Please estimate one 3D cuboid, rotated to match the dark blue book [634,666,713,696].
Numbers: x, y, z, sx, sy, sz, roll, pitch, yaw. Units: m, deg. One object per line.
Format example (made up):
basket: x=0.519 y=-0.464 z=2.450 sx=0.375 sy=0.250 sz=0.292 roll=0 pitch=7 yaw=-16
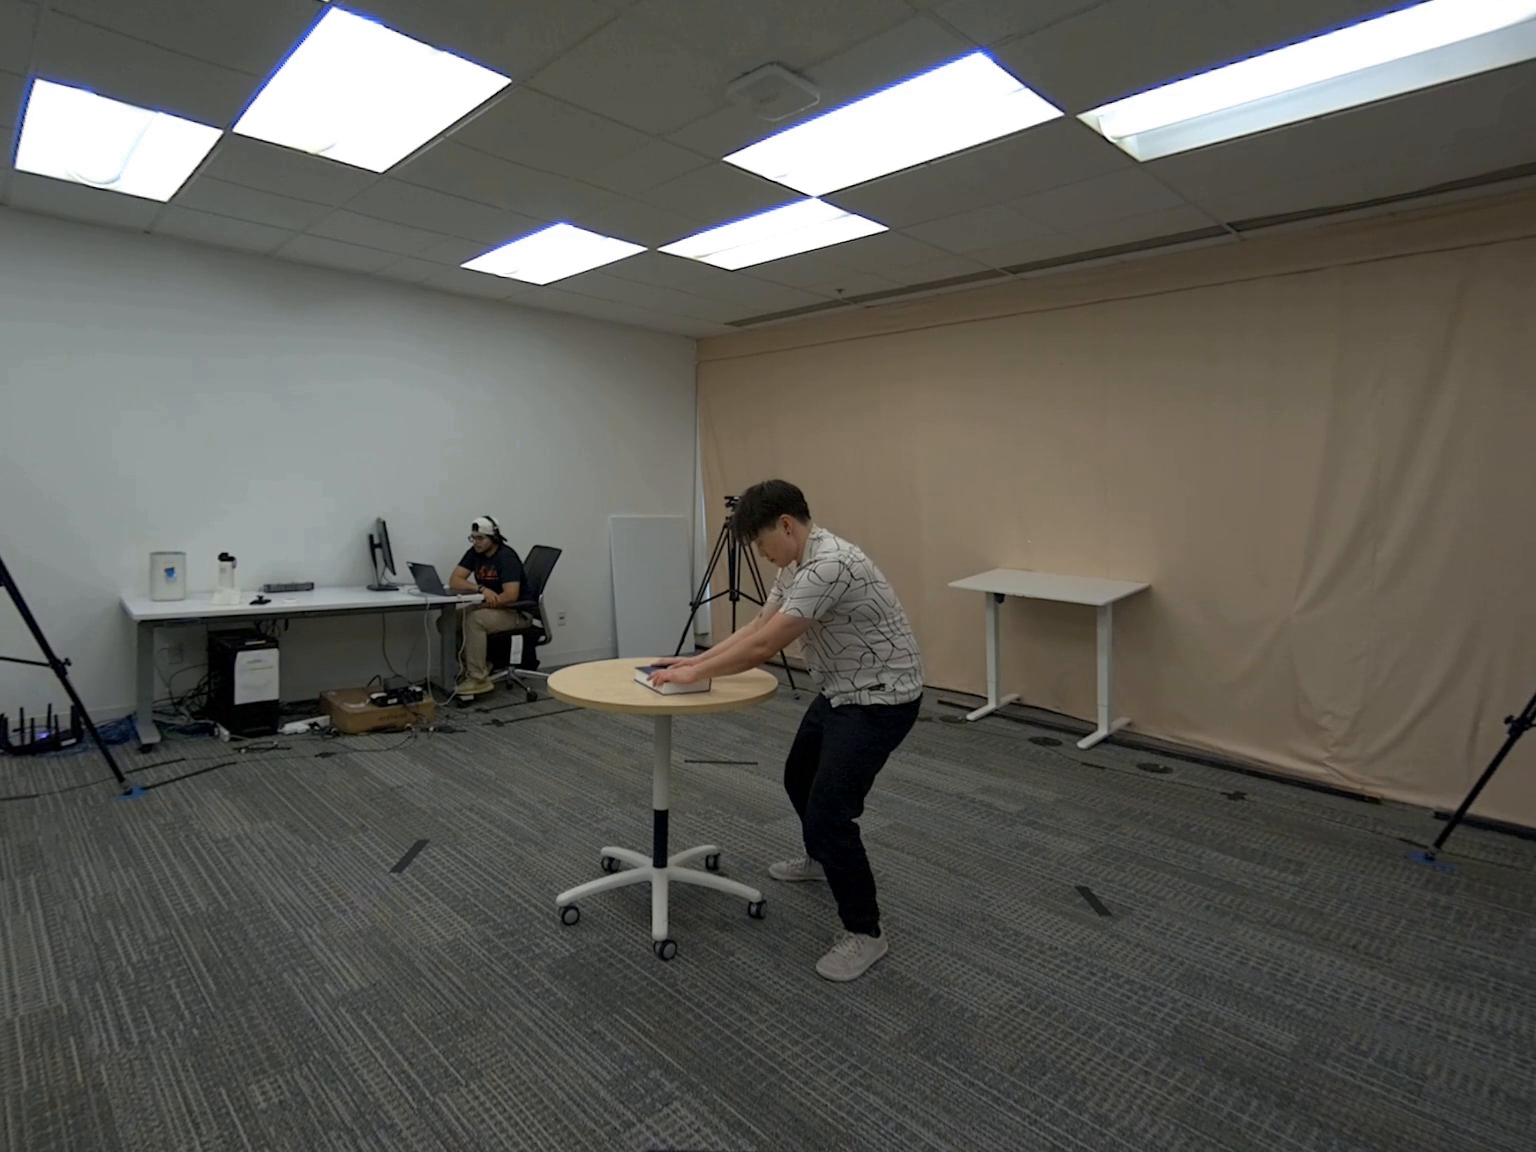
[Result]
dark blue book: x=-0.318 y=0.336 z=2.714 sx=0.160 sy=0.045 sz=0.251 roll=-1 pitch=5 yaw=-30
